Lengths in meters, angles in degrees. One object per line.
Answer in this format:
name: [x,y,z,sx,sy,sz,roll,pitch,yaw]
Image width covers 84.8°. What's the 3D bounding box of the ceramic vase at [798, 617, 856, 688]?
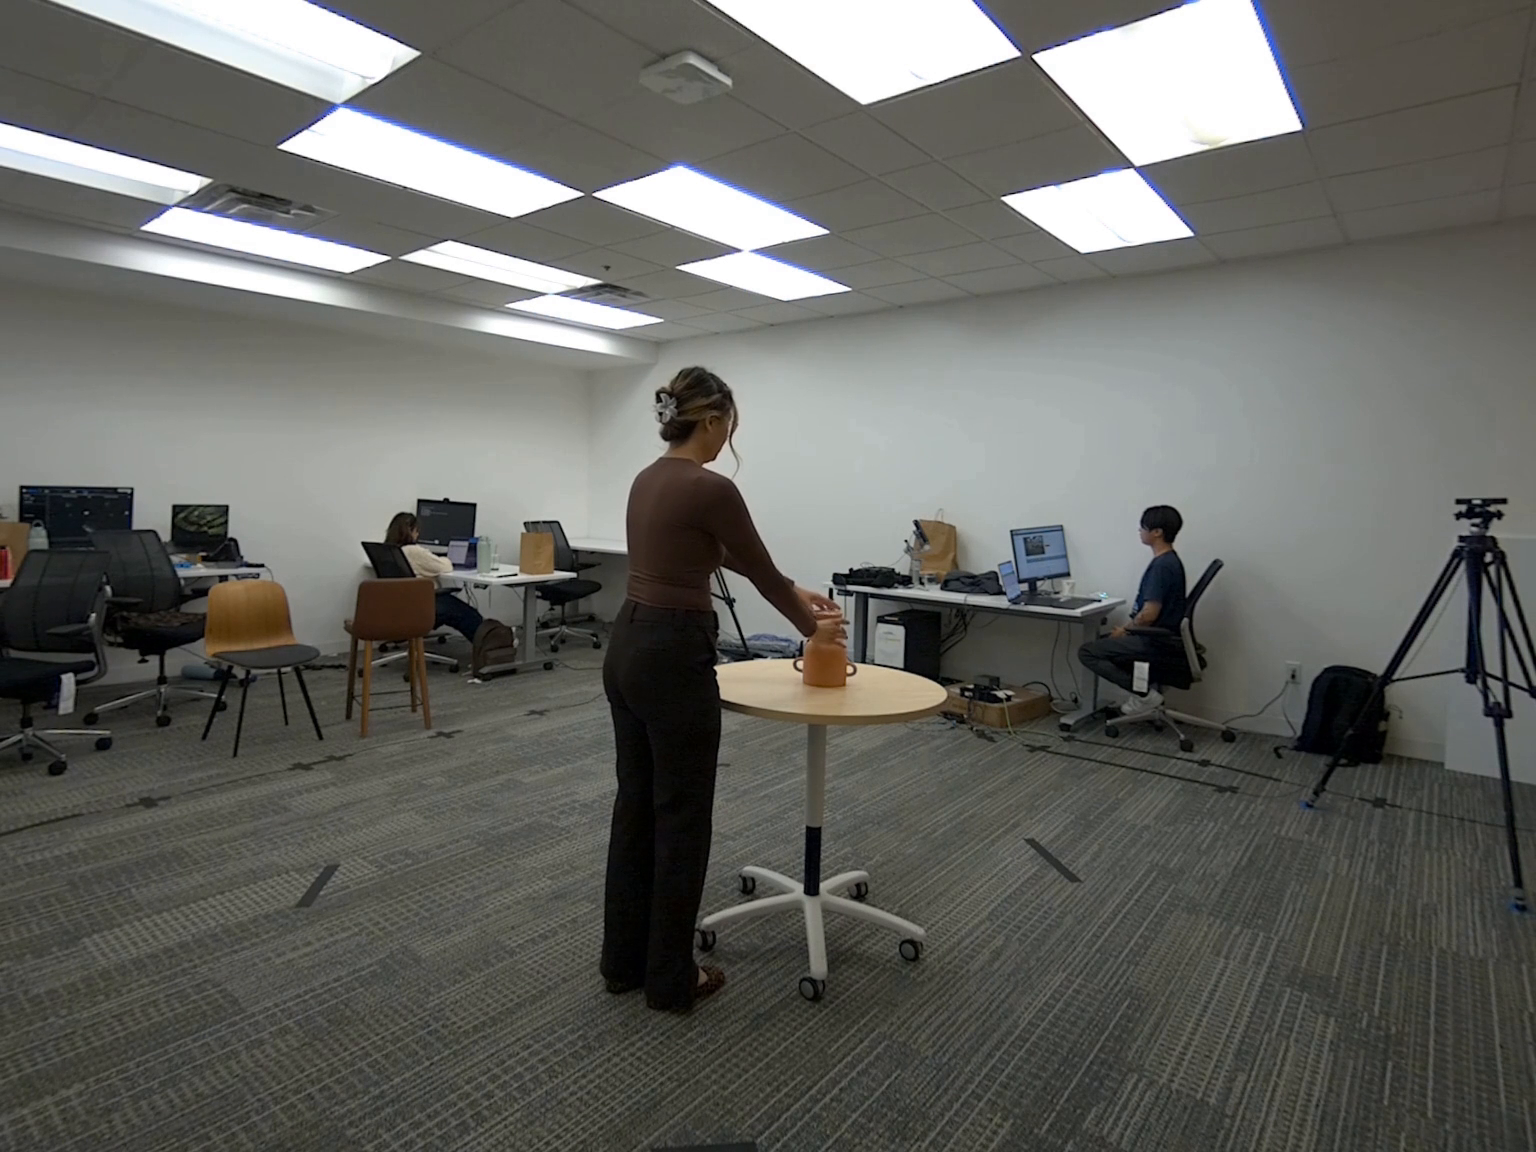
ceramic vase: [0.170,0.217,2.623,0.155,0.219,0.138,0,5,-27]
